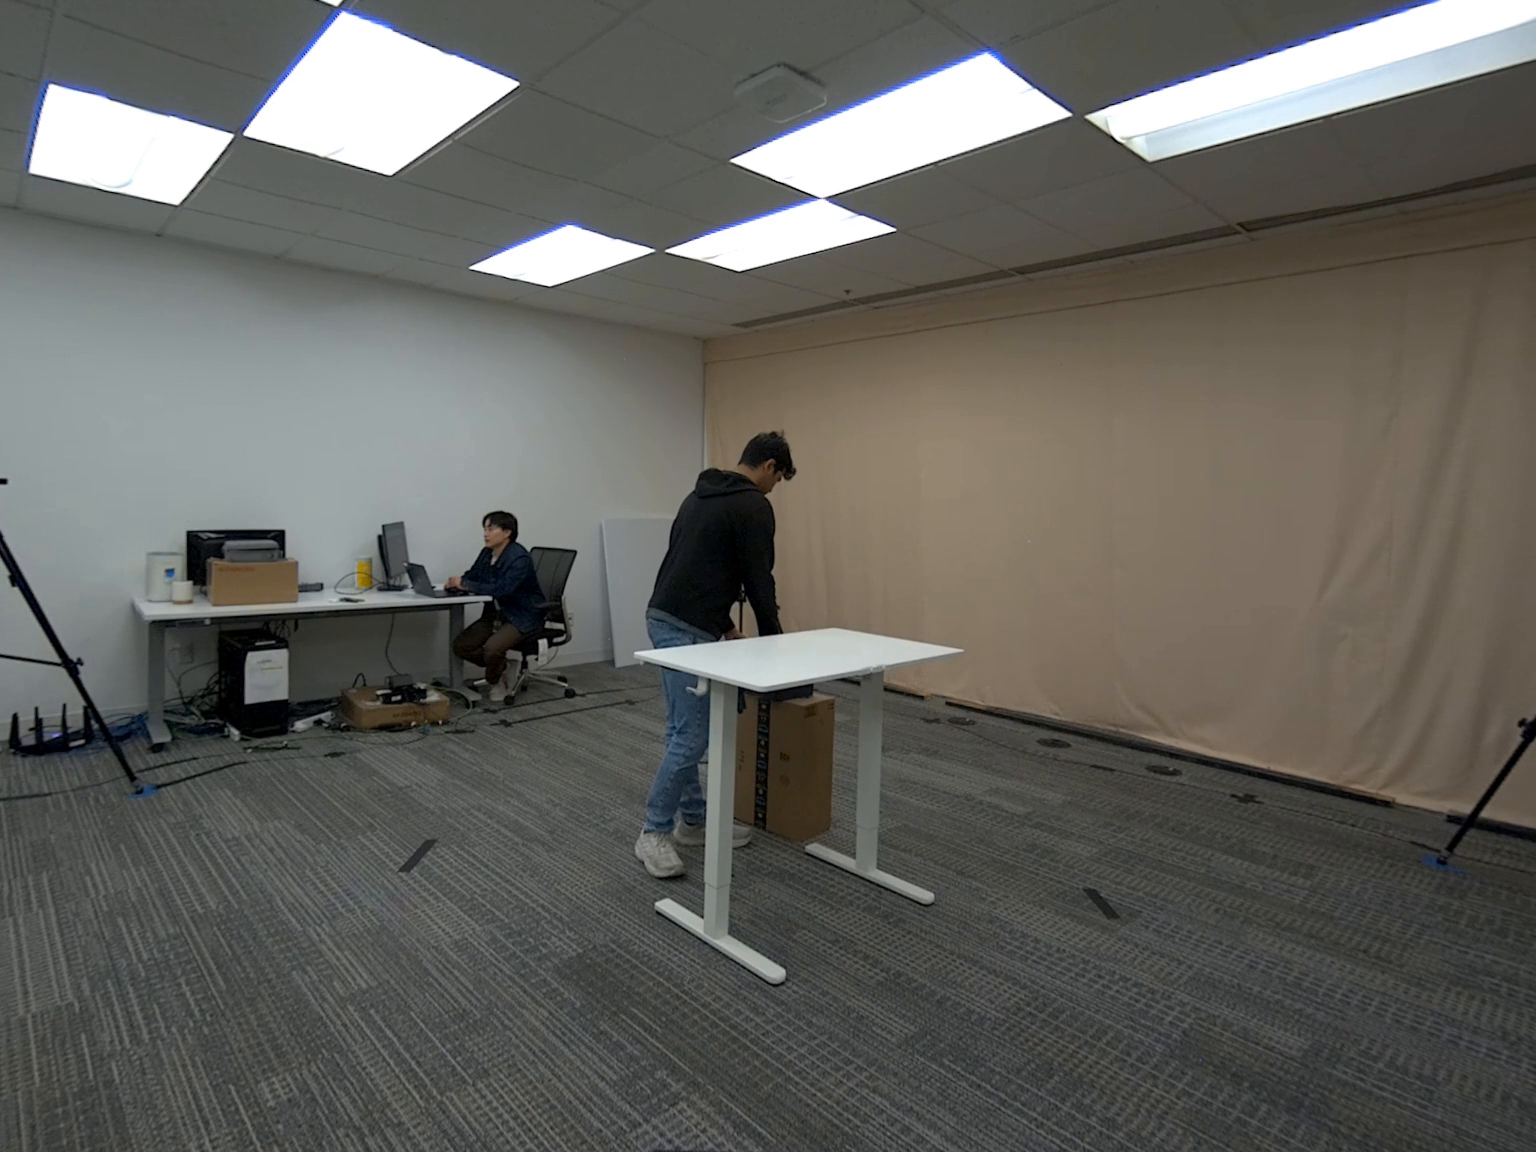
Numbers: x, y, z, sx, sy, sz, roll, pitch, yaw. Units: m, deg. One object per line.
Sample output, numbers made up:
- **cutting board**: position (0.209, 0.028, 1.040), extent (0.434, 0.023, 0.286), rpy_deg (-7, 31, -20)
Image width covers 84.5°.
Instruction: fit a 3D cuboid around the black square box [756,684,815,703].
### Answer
- **black square box**: position (0.040, 0.417, 3.595), extent (0.212, 0.155, 0.234), rpy_deg (-3, 6, -41)
